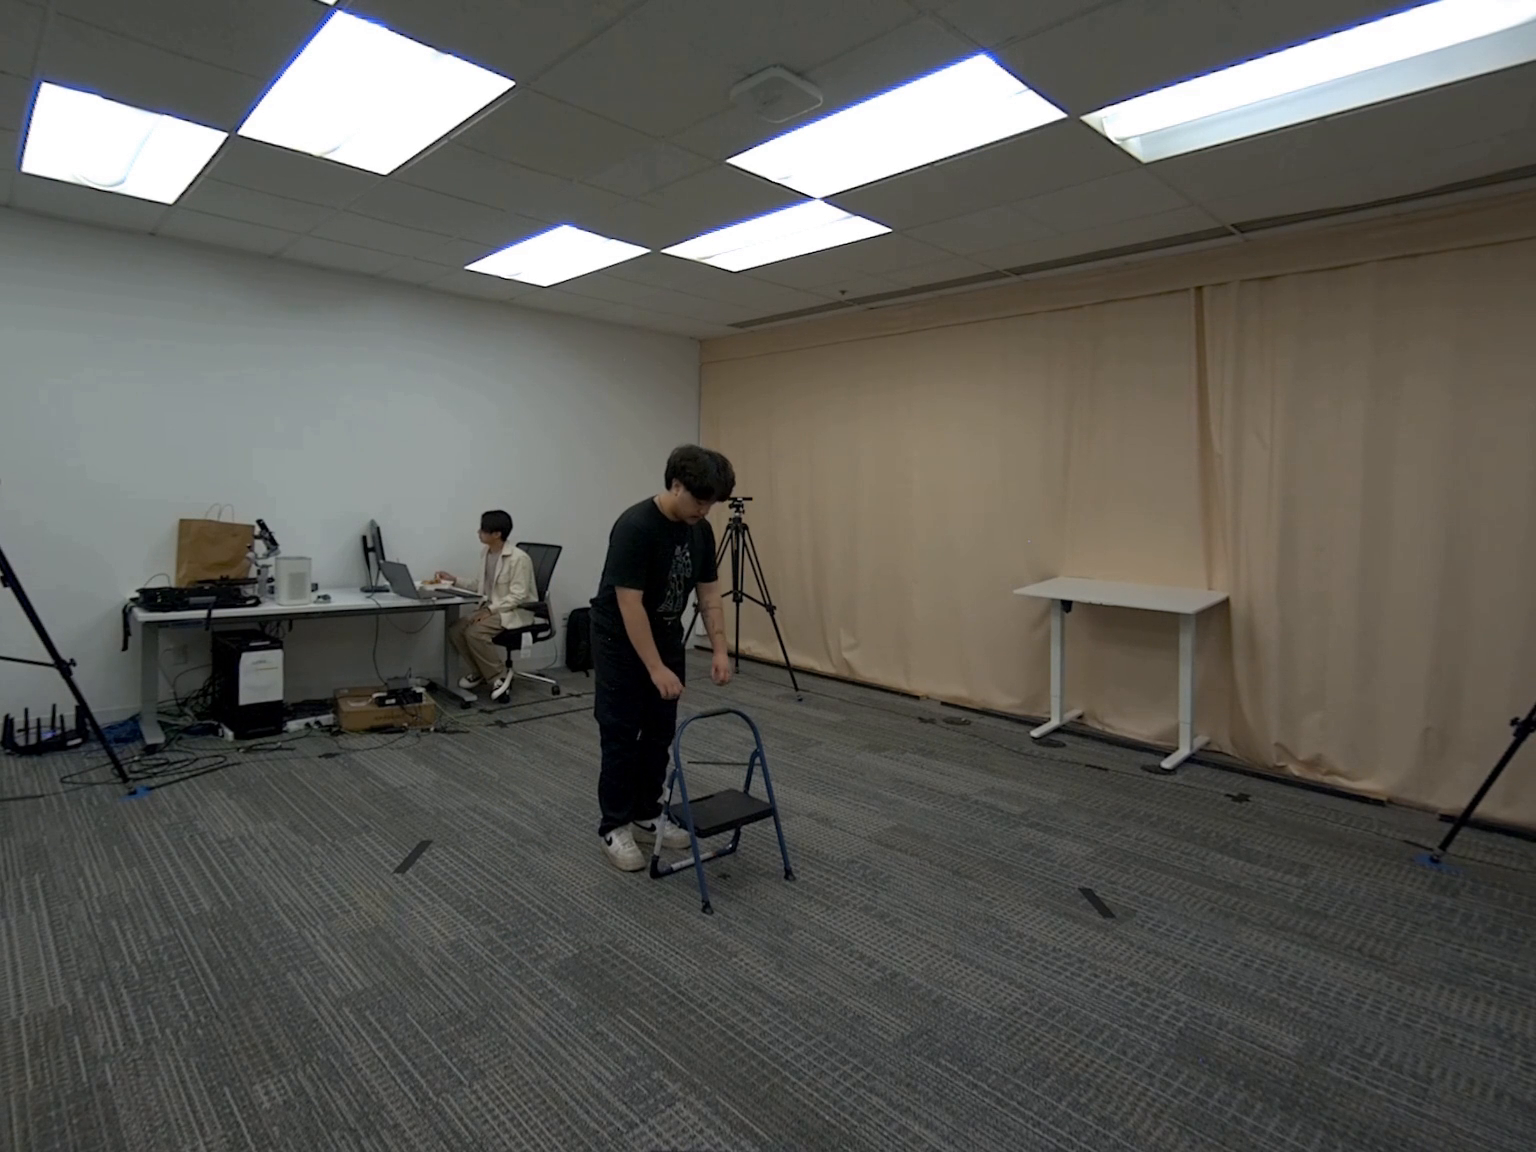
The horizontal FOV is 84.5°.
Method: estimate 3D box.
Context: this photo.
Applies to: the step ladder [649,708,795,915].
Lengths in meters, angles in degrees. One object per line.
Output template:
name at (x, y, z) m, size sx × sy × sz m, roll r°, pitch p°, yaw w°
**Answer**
step ladder at (-0.166, 0.808, 3.065) m, size 0.421 × 0.604 × 0.358 m, roll -2°, pitch 5°, yaw -44°
